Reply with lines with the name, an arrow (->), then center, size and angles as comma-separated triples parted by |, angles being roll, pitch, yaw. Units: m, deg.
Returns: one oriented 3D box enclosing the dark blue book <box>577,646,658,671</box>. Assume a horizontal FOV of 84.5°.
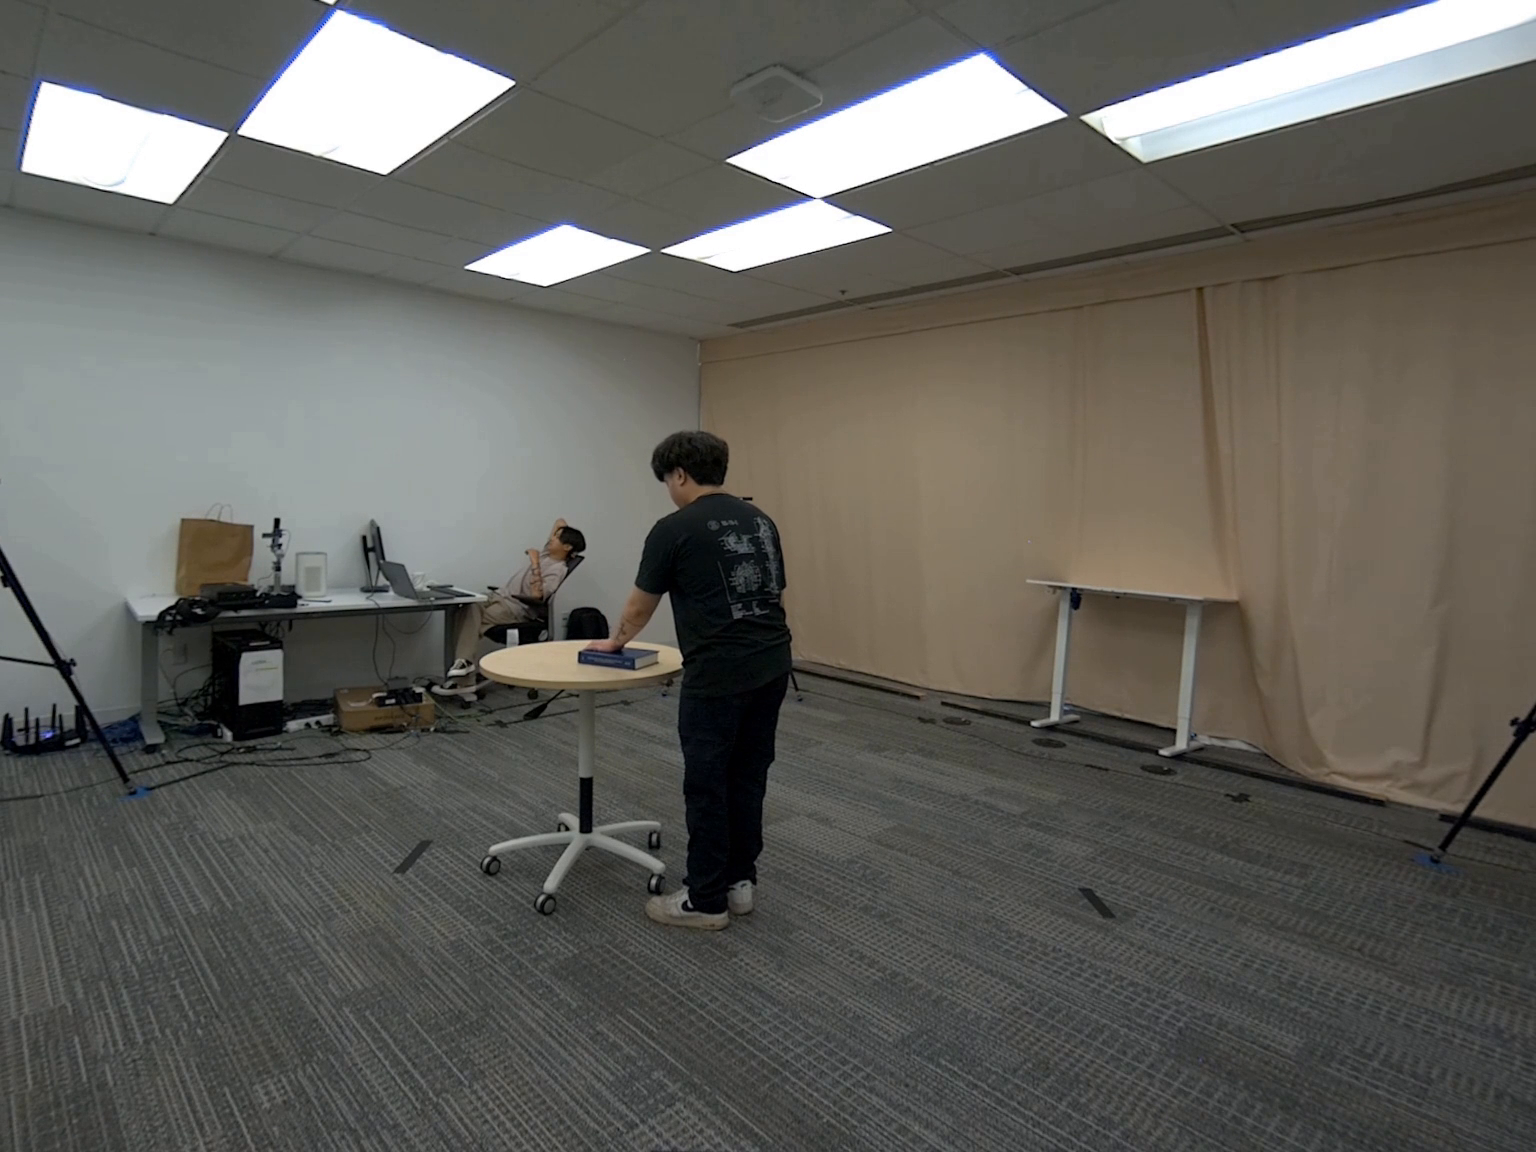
dark blue book -> -0.542, 0.293, 3.023 | 0.250, 0.045, 0.161 | 3, 6, 25
